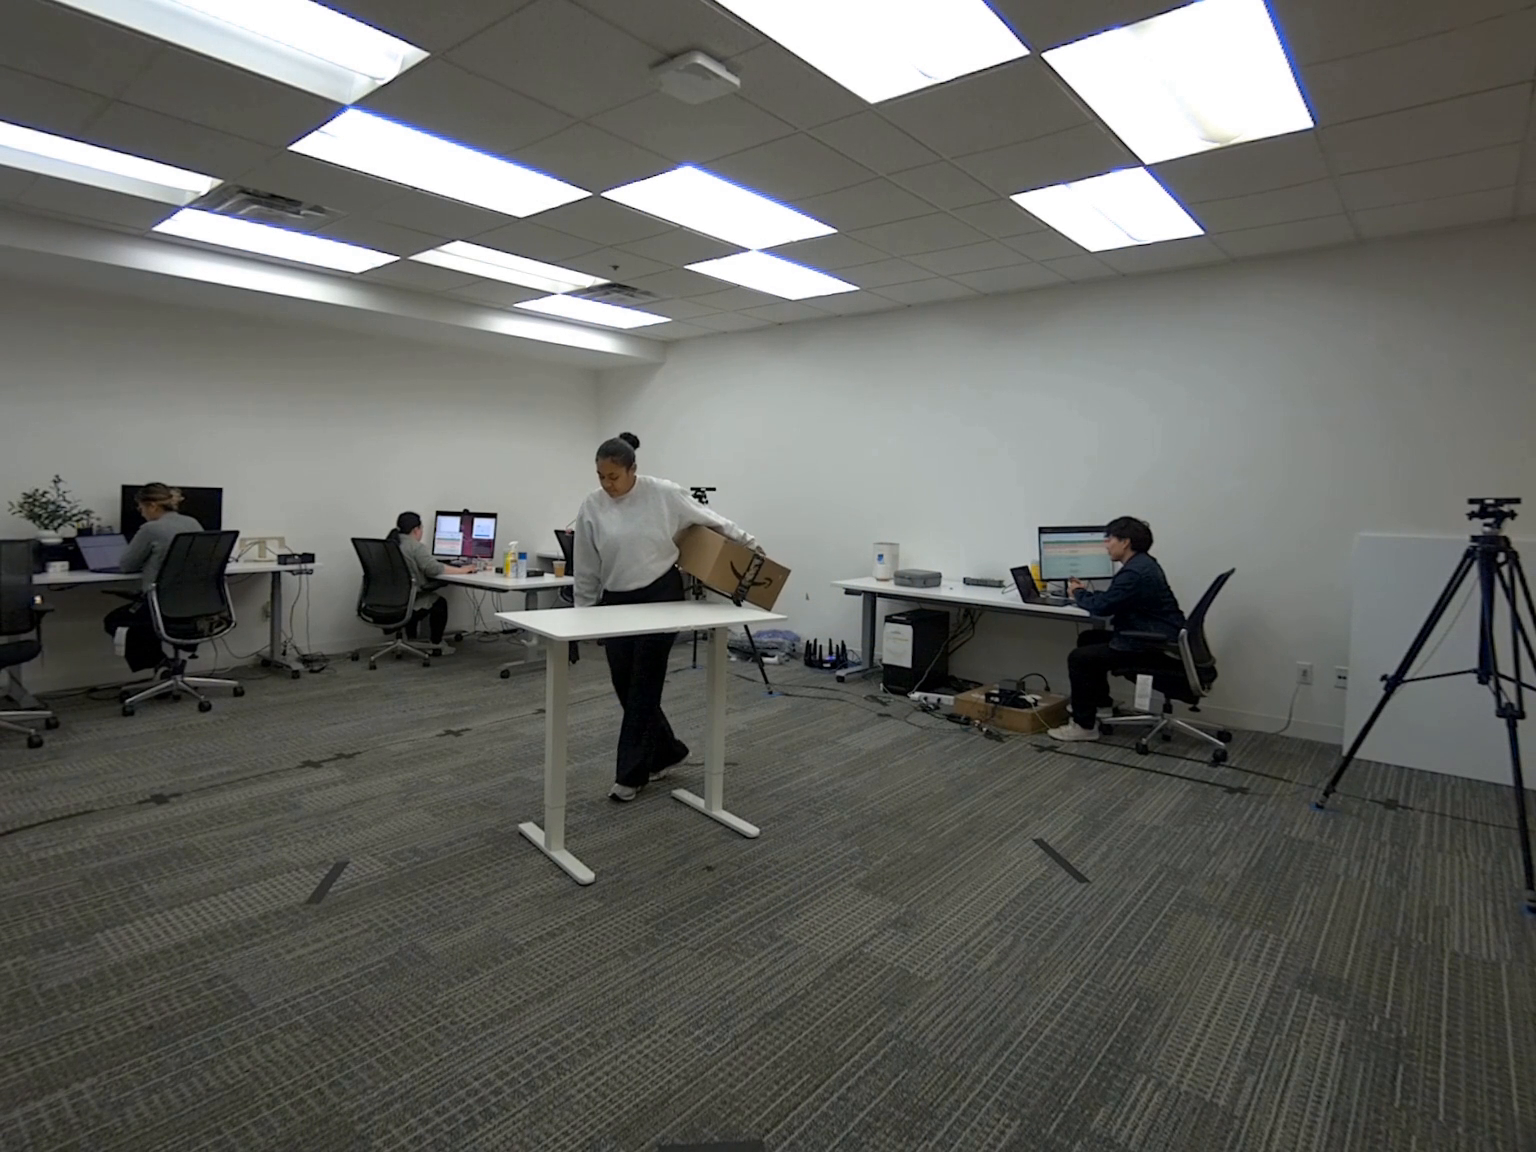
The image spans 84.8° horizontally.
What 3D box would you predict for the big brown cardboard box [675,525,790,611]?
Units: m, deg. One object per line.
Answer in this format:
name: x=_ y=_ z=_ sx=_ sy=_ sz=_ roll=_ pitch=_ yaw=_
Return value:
big brown cardboard box: x=-0.256 y=-0.086 z=3.996 sx=0.401 sy=0.233 sz=0.612 roll=25 pitch=1 yaw=-37
